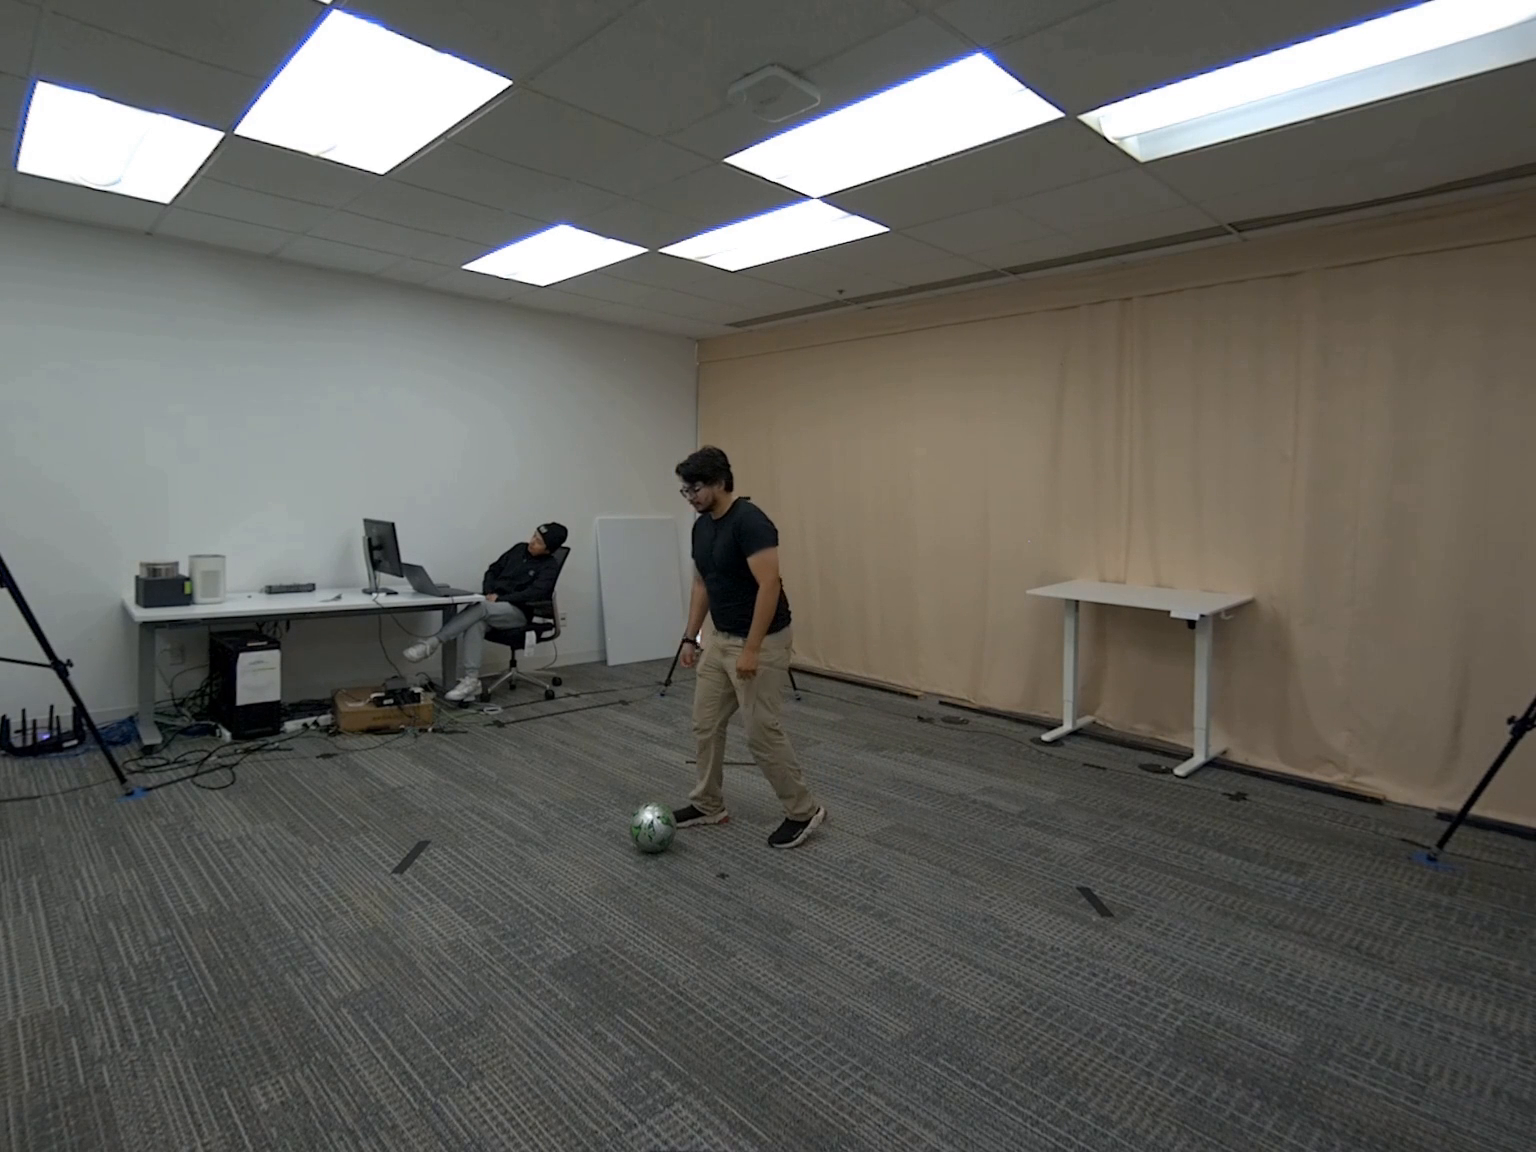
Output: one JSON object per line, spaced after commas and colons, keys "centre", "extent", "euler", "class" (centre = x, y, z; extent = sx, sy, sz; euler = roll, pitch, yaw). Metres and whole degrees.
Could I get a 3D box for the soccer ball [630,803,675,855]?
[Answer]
{"centre": [-0.458, 0.984, 3.308], "extent": [0.187, 0.187, 0.188], "euler": [1, 4, -1], "class": "soccer ball"}
